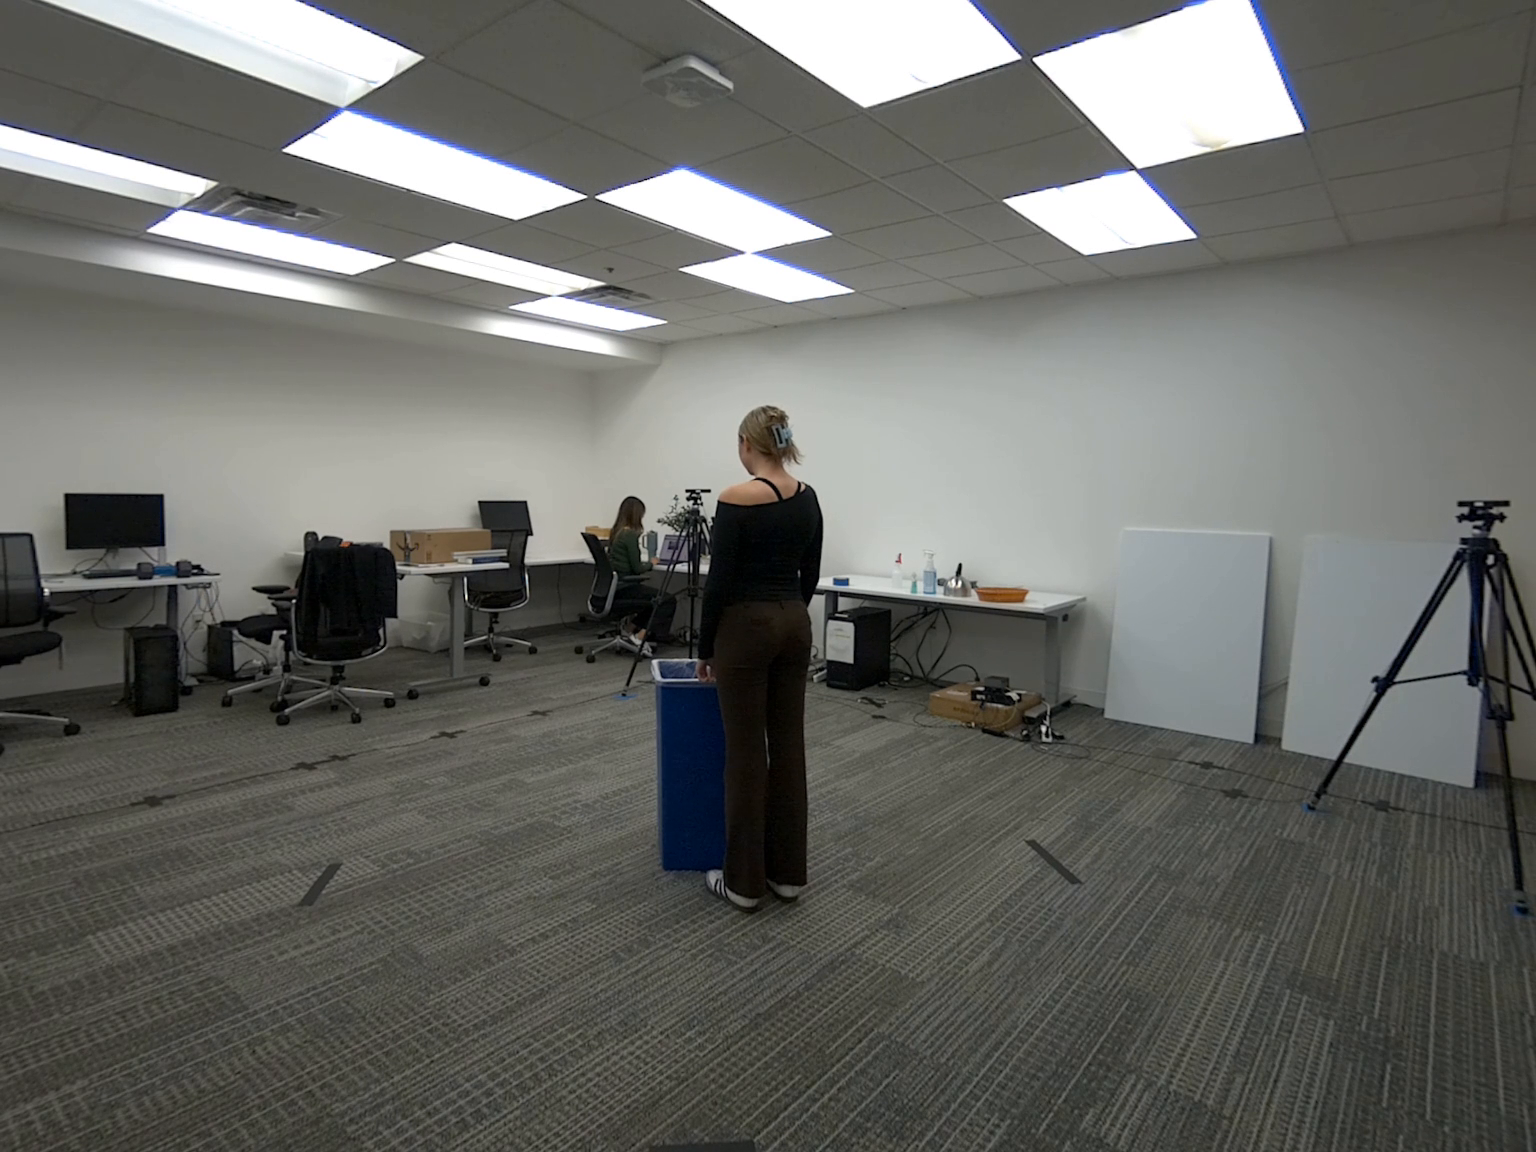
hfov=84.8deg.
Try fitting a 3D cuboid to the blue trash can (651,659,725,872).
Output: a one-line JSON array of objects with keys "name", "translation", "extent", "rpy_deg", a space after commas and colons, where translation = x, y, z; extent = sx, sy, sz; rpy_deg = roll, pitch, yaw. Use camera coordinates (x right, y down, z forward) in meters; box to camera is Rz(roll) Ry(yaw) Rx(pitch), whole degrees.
[{"name": "blue trash can", "translation": [-0.265, 0.702, 3.239], "extent": [0.375, 0.711, 0.378], "rpy_deg": [0, 3, -8]}]
